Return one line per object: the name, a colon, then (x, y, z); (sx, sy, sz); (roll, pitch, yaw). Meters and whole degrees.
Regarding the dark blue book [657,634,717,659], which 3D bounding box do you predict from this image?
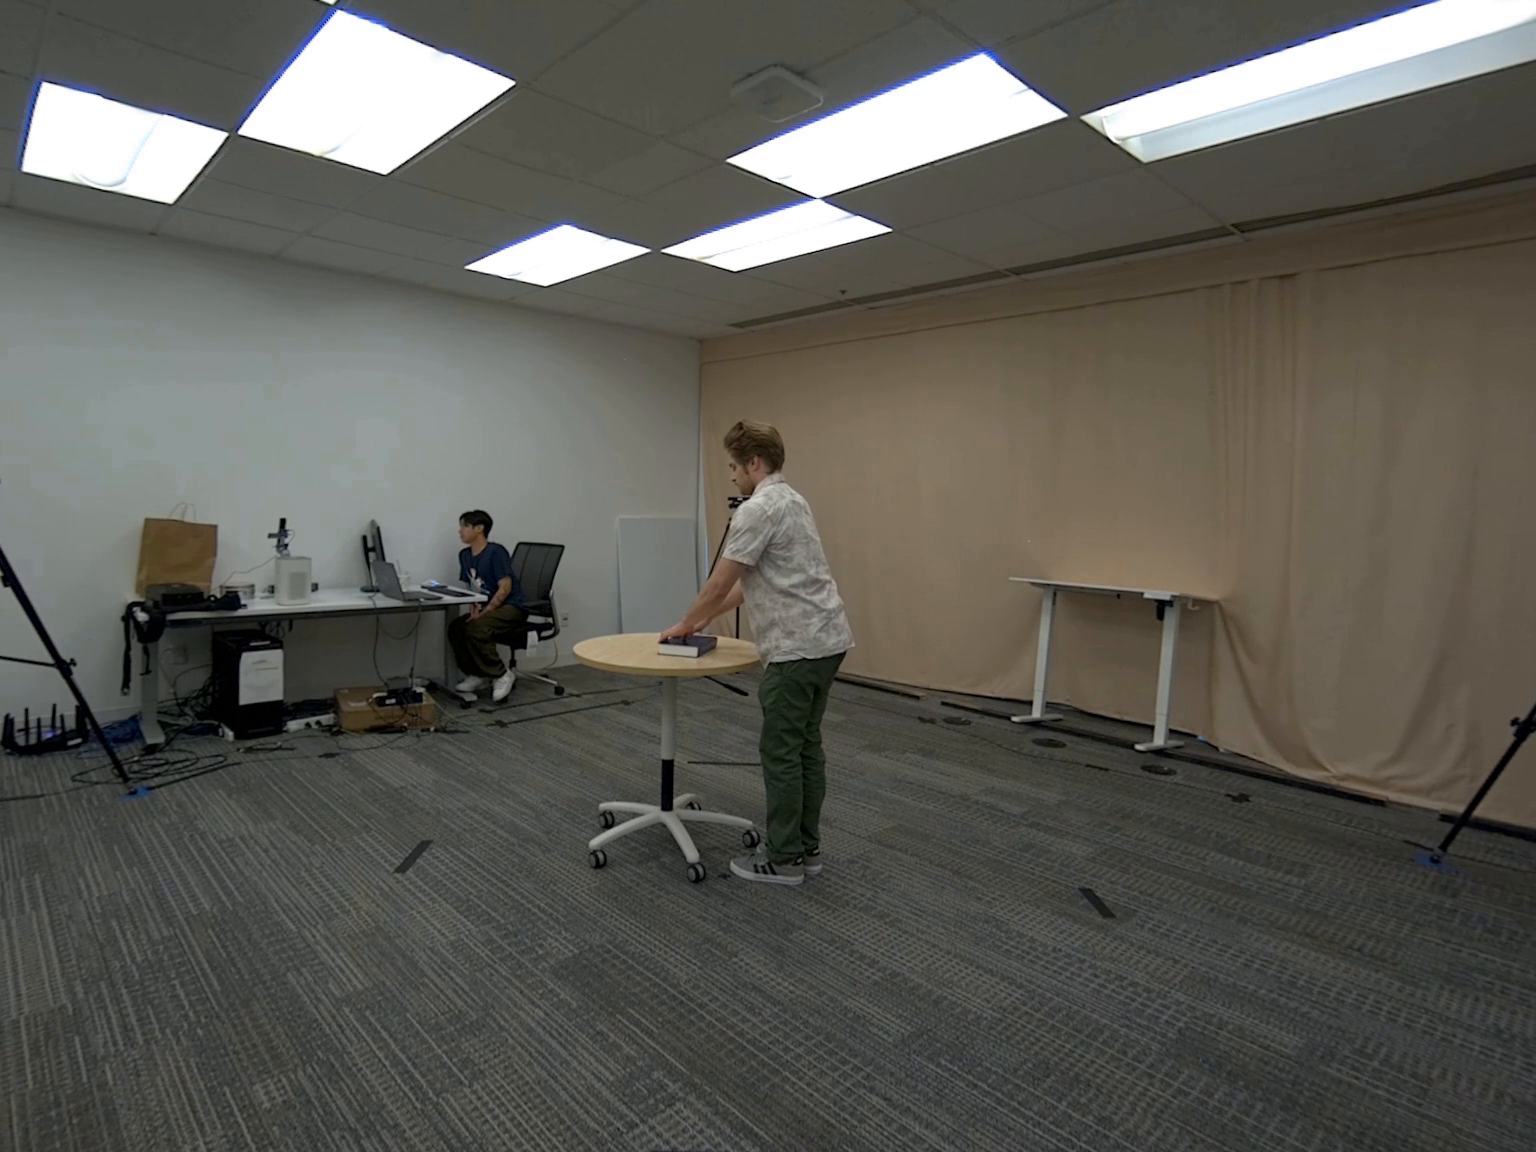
dark blue book: (-0.321, 0.272, 3.318); (0.165, 0.045, 0.243); (3, 6, 13)
